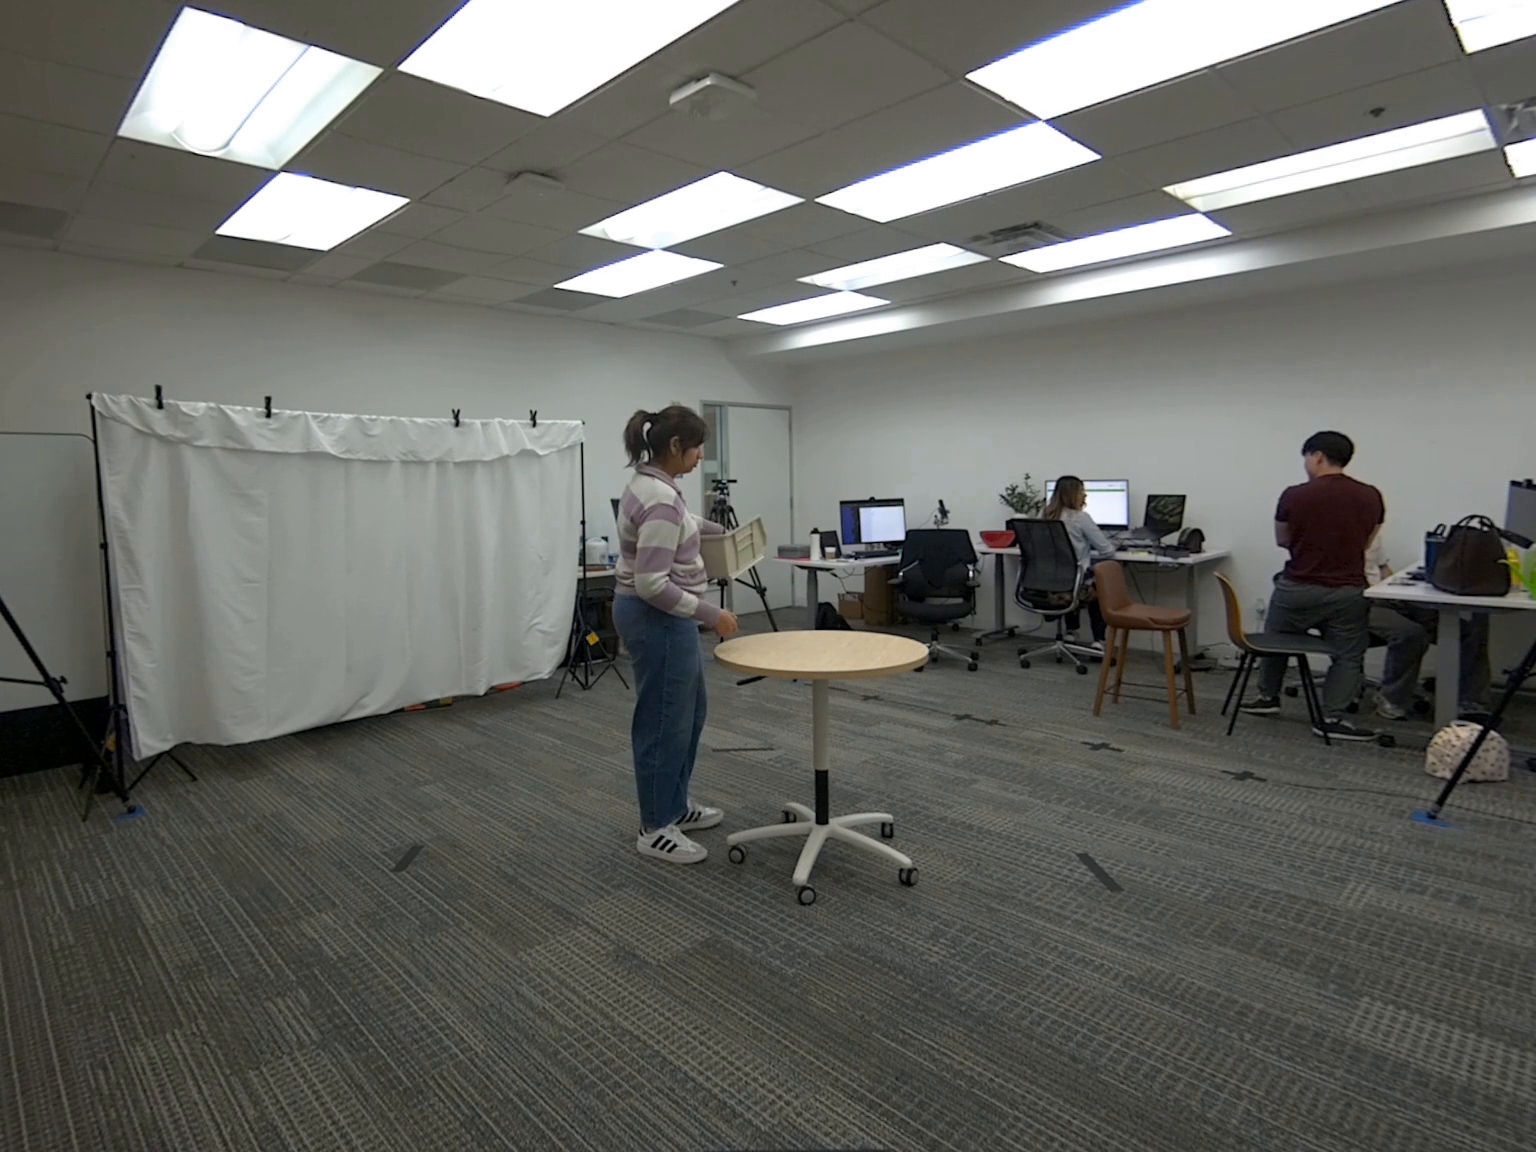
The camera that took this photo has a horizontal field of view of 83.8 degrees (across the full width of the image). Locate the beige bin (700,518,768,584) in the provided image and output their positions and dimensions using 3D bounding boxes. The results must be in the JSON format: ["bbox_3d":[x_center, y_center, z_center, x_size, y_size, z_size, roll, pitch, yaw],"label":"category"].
[{"bbox_3d":[-0.266,-0.116,3.455,0.431,0.186,0.375,-2,16,24],"label":"beige bin"}]
